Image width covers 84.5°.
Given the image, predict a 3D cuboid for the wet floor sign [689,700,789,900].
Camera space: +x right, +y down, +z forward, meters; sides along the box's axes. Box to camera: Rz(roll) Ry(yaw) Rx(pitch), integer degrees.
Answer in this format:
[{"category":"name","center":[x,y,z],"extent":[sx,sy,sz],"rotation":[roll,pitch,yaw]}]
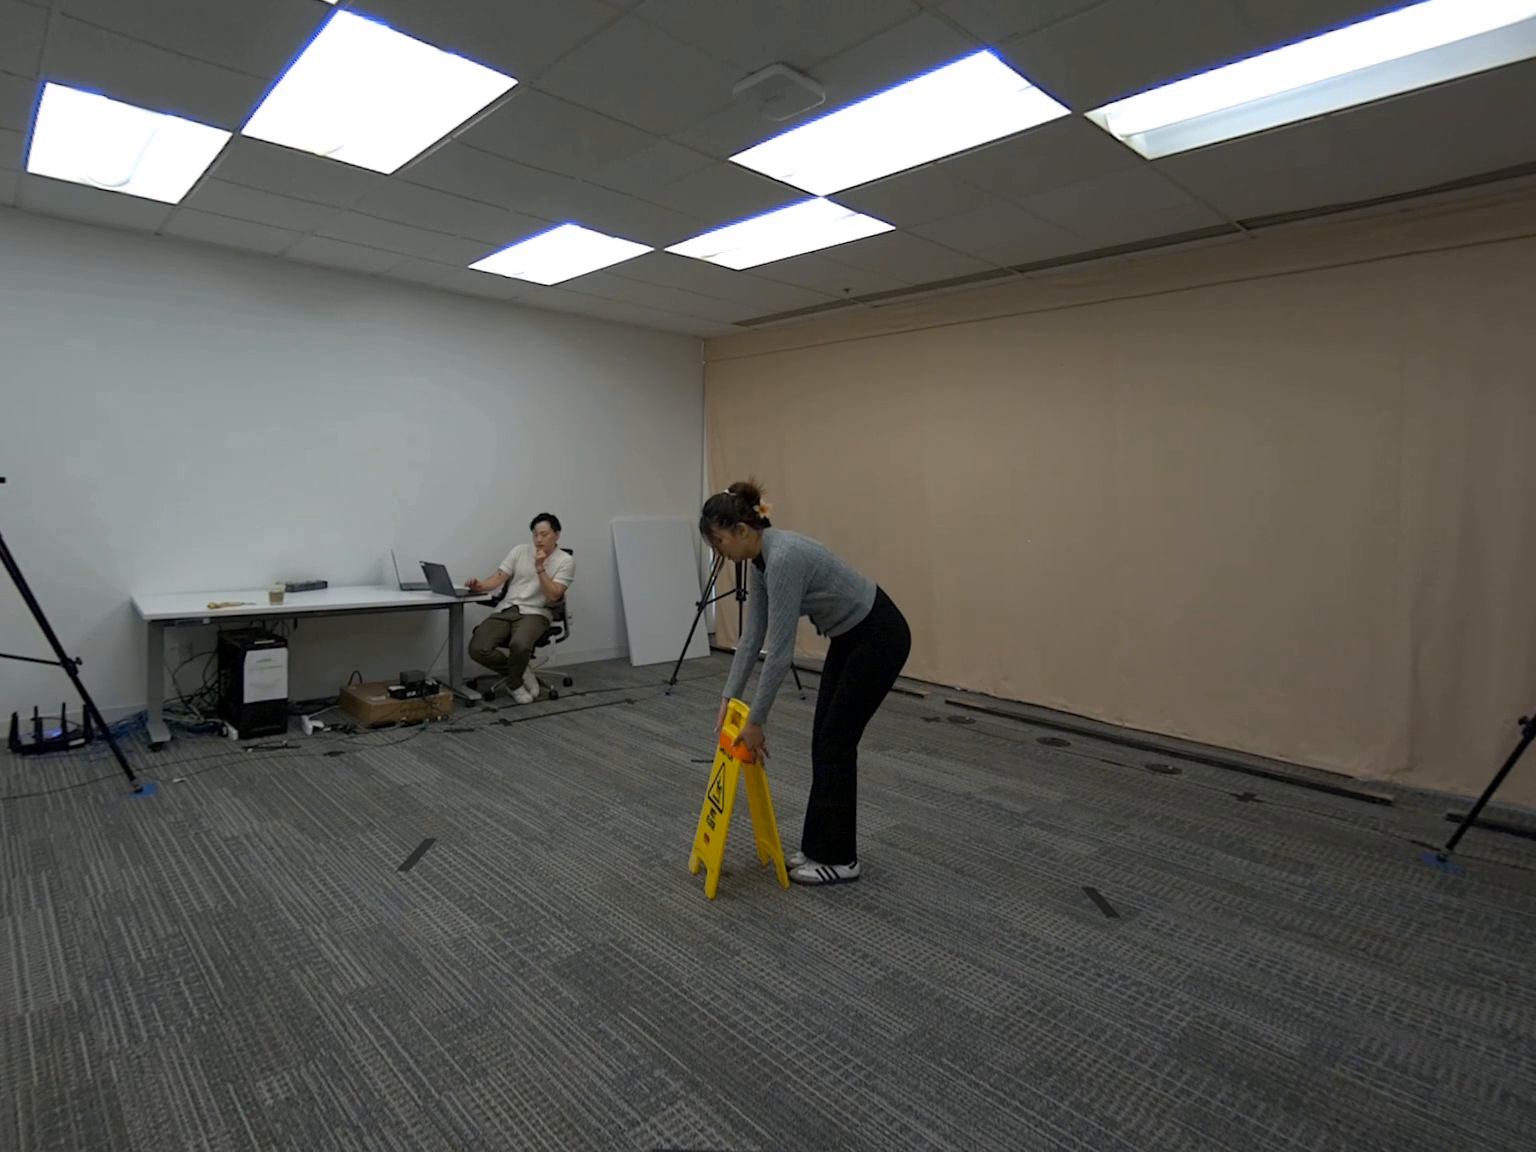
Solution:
[{"category":"wet floor sign","center":[-0.113,0.781,3.058],"extent":[0.285,0.645,0.287],"rotation":[-1,2,-20]}]
